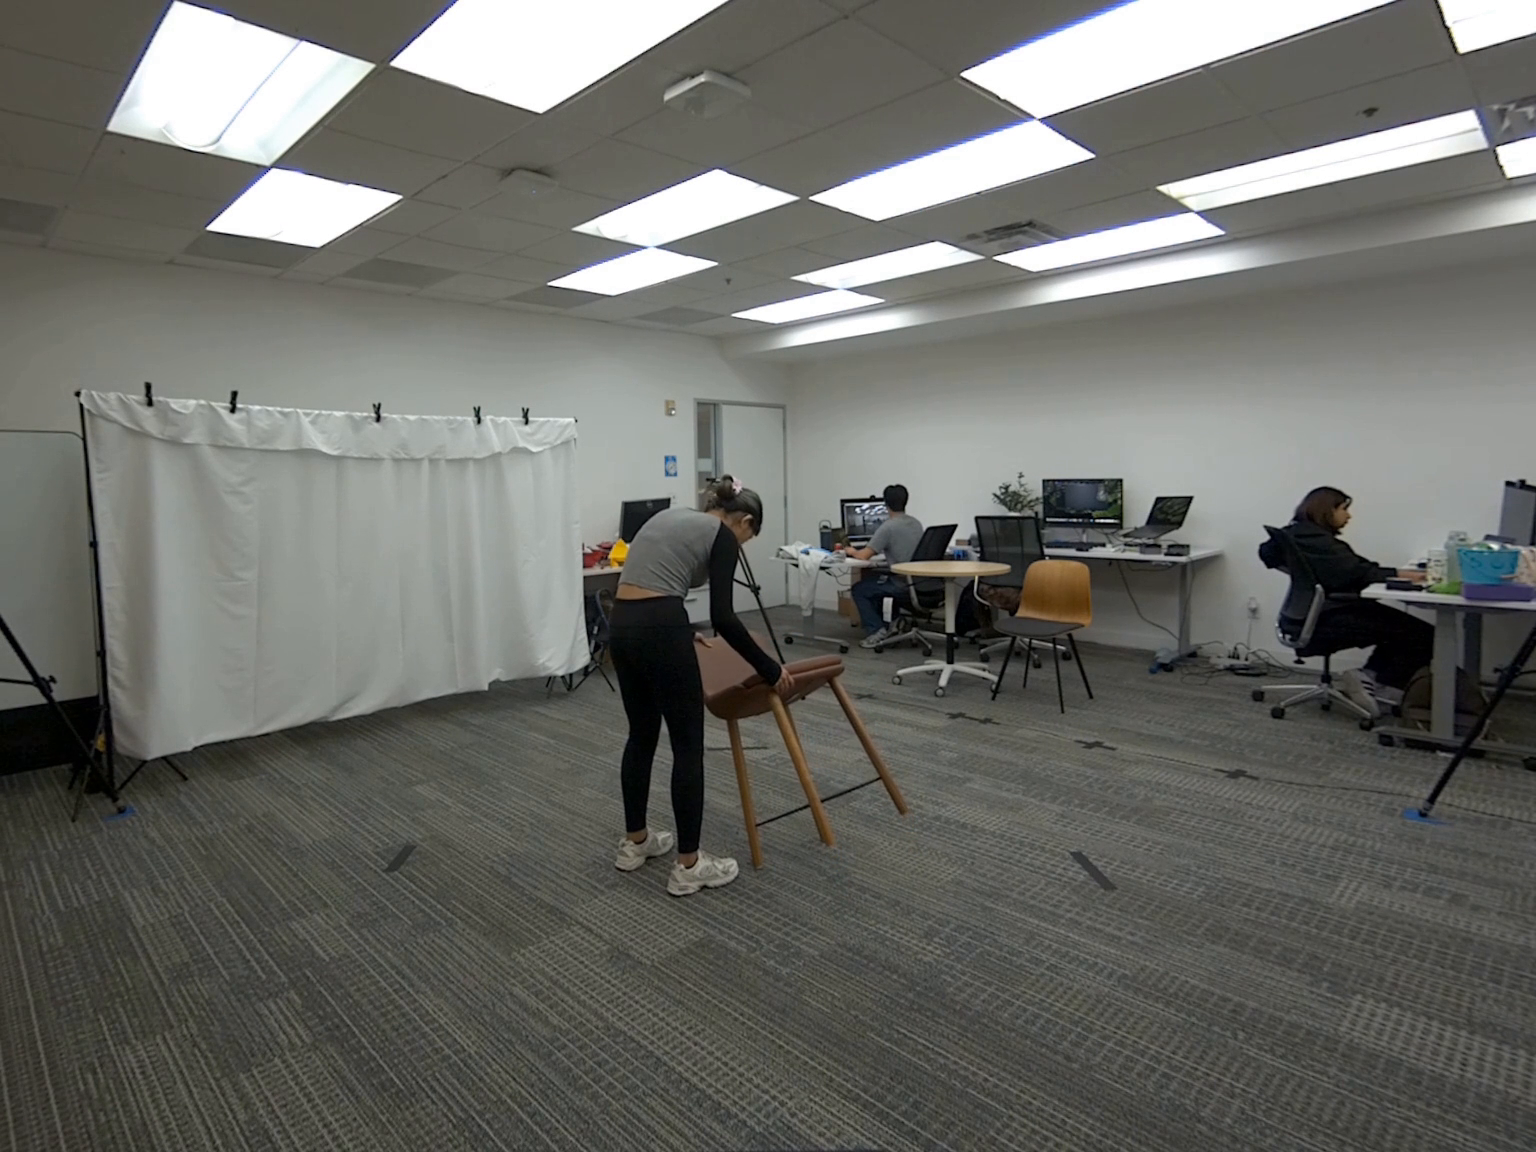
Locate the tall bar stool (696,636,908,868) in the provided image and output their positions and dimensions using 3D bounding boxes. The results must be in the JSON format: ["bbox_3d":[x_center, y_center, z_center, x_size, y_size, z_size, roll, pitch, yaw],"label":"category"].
[{"bbox_3d":[0.067,0.548,3.175,0.444,0.910,0.469,-5,-25,-41],"label":"tall bar stool"}]
